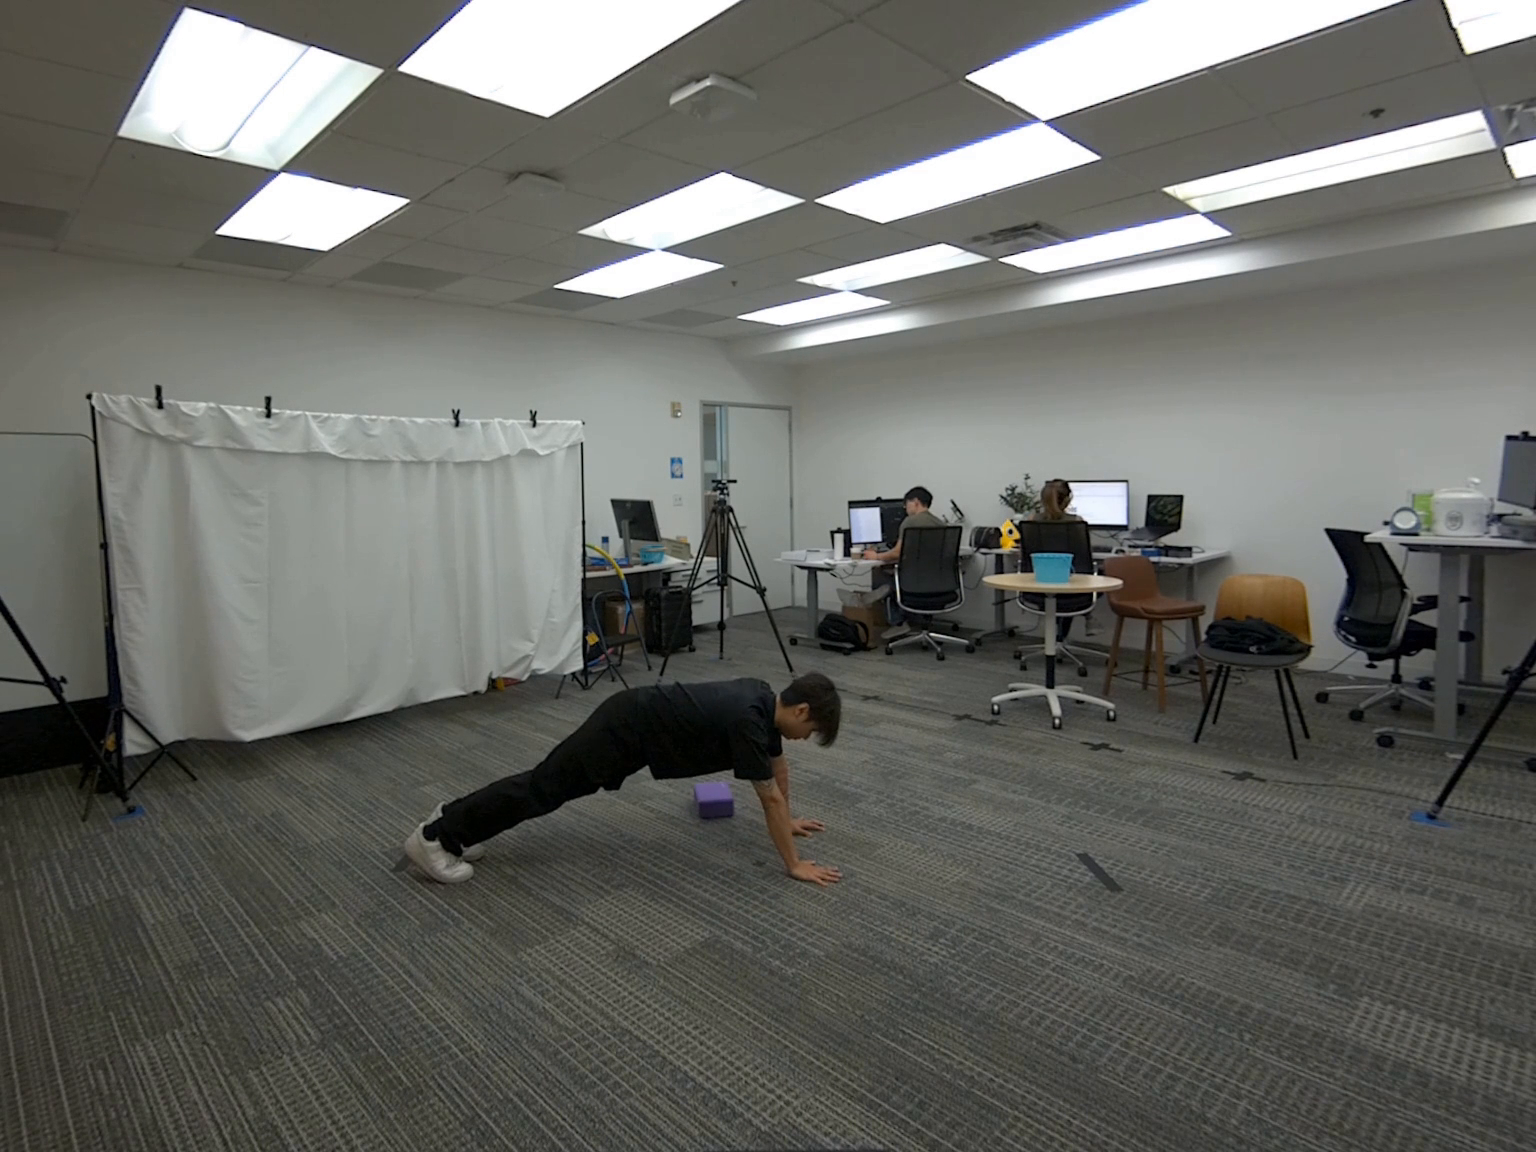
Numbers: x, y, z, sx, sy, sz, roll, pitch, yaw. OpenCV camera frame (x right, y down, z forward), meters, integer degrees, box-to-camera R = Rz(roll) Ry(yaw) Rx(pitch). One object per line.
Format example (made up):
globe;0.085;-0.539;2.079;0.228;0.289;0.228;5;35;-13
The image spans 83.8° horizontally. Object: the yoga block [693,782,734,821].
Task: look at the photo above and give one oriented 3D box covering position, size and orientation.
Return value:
yoga block;-0.230;0.951;3.649;0.148;0.076;0.232;-1;6;-10
